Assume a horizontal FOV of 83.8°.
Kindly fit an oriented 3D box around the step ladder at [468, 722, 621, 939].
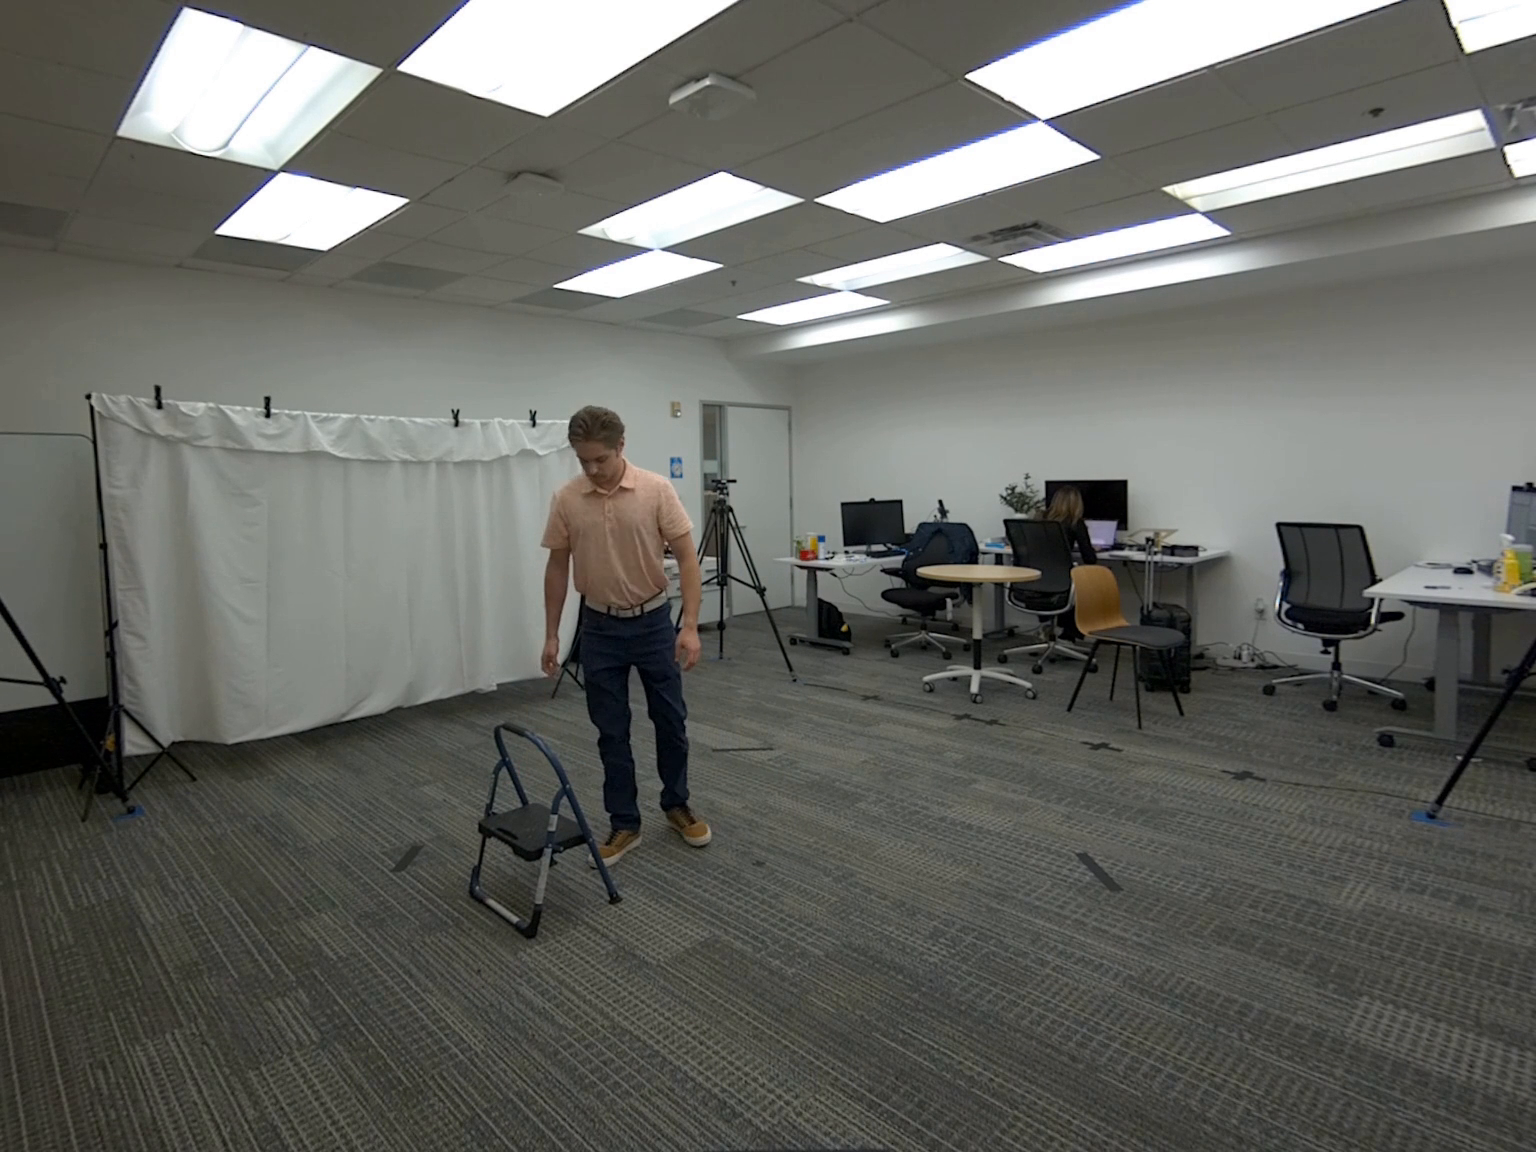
[{"bbox_3d":[-0.766,0.787,2.866,0.444,0.604,0.340,3,6,45],"label":"step ladder"}]
